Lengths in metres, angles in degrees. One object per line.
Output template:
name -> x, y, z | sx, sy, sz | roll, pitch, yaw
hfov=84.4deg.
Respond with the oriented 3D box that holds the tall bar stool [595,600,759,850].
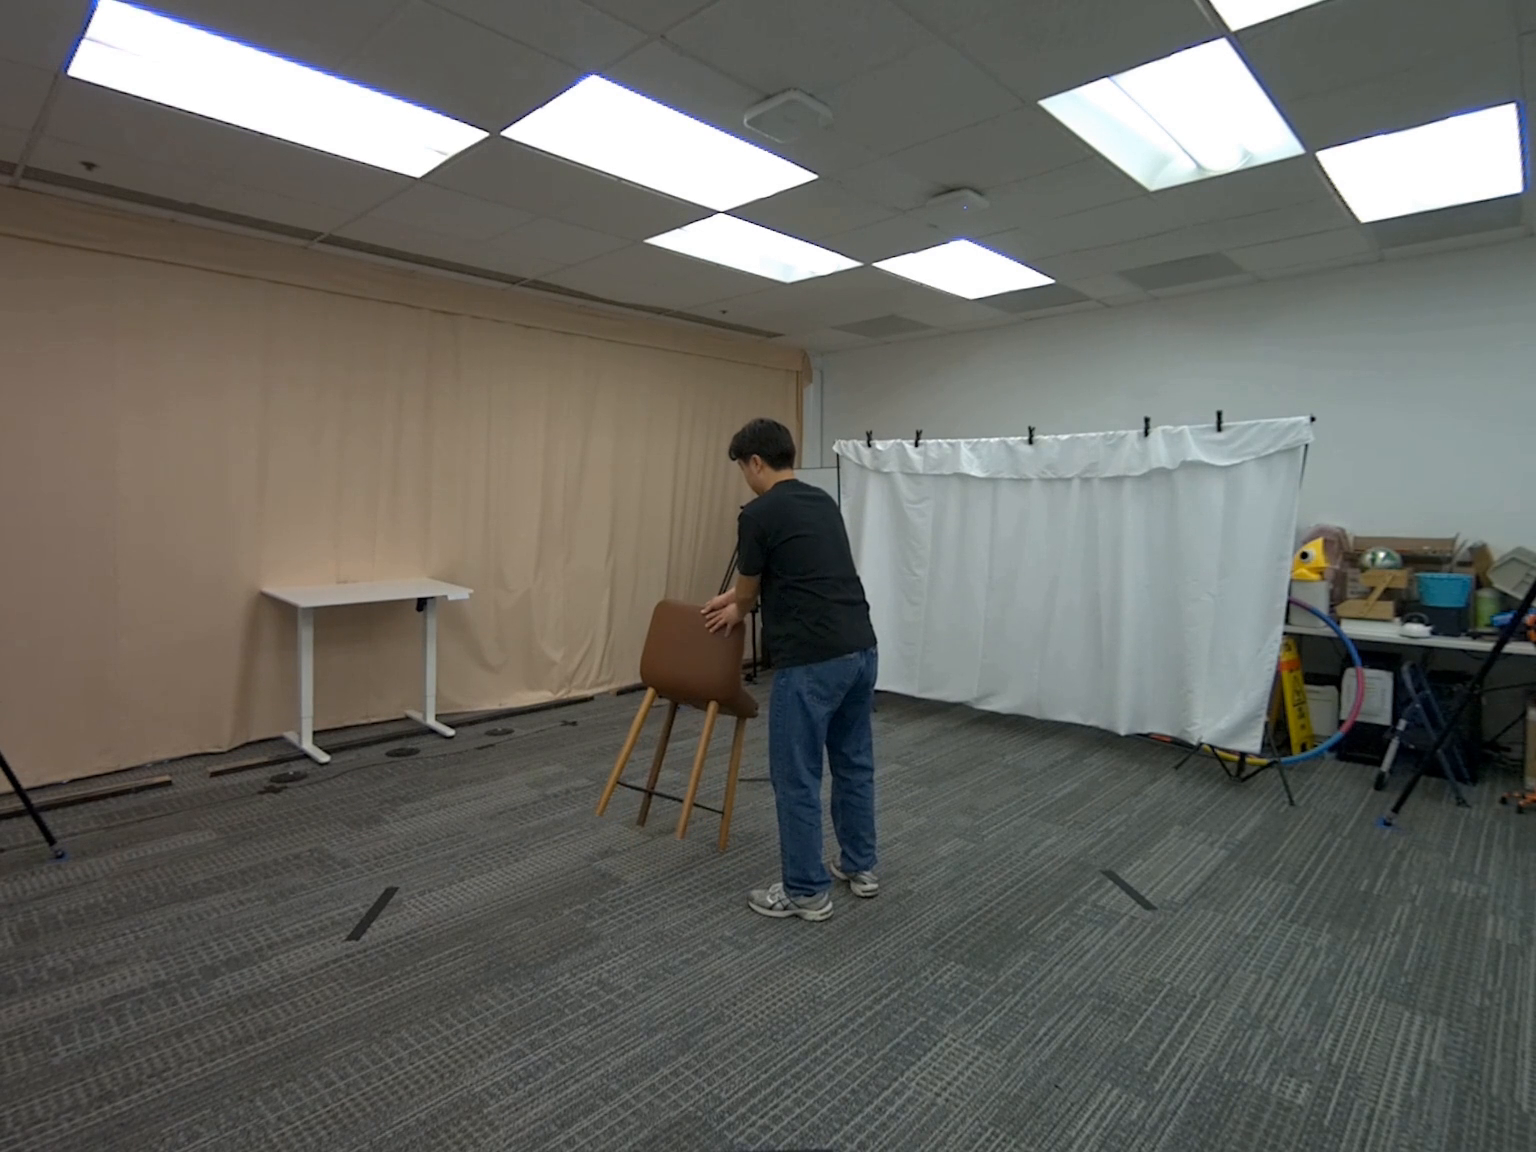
tall bar stool -> -0.321, 0.601, 3.424 | 0.468, 0.895, 0.453 | 6, -18, 23
